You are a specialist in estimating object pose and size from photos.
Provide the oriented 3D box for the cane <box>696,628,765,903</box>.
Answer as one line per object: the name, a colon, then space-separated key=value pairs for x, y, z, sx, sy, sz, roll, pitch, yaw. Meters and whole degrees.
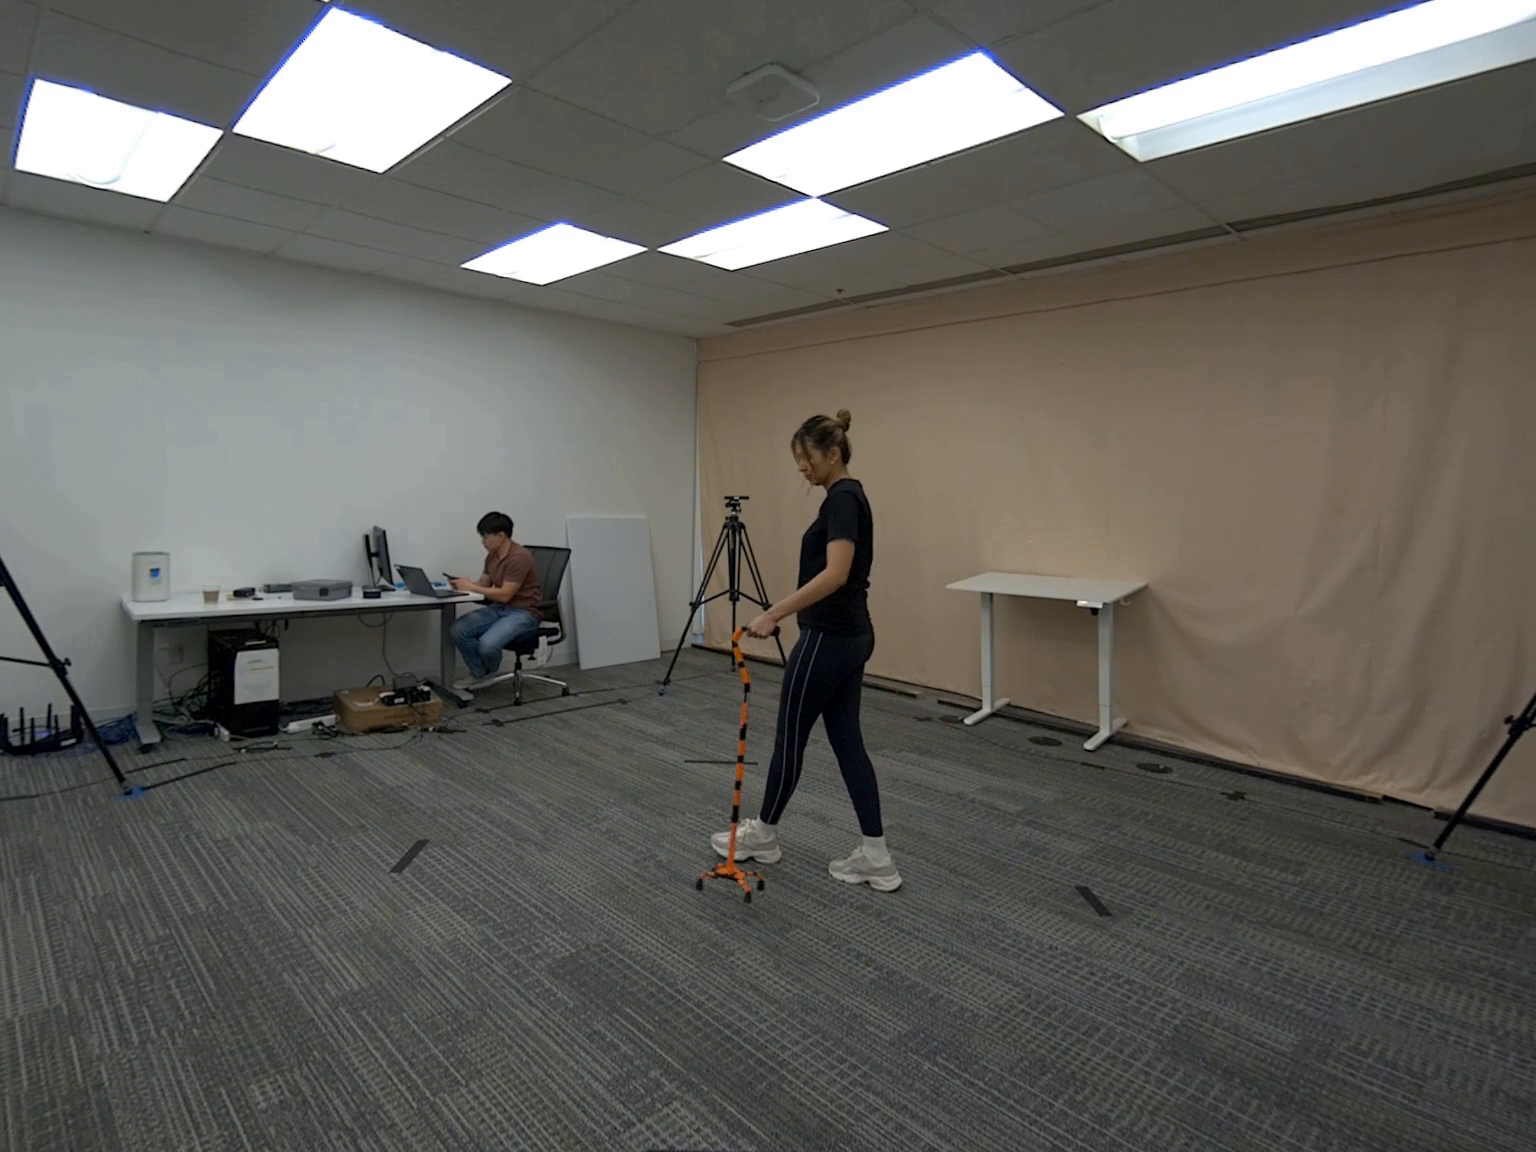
cane: x=-0.094 y=0.618 z=2.864 sx=0.210 sy=0.907 sz=0.149 roll=5 pitch=1 yaw=21
